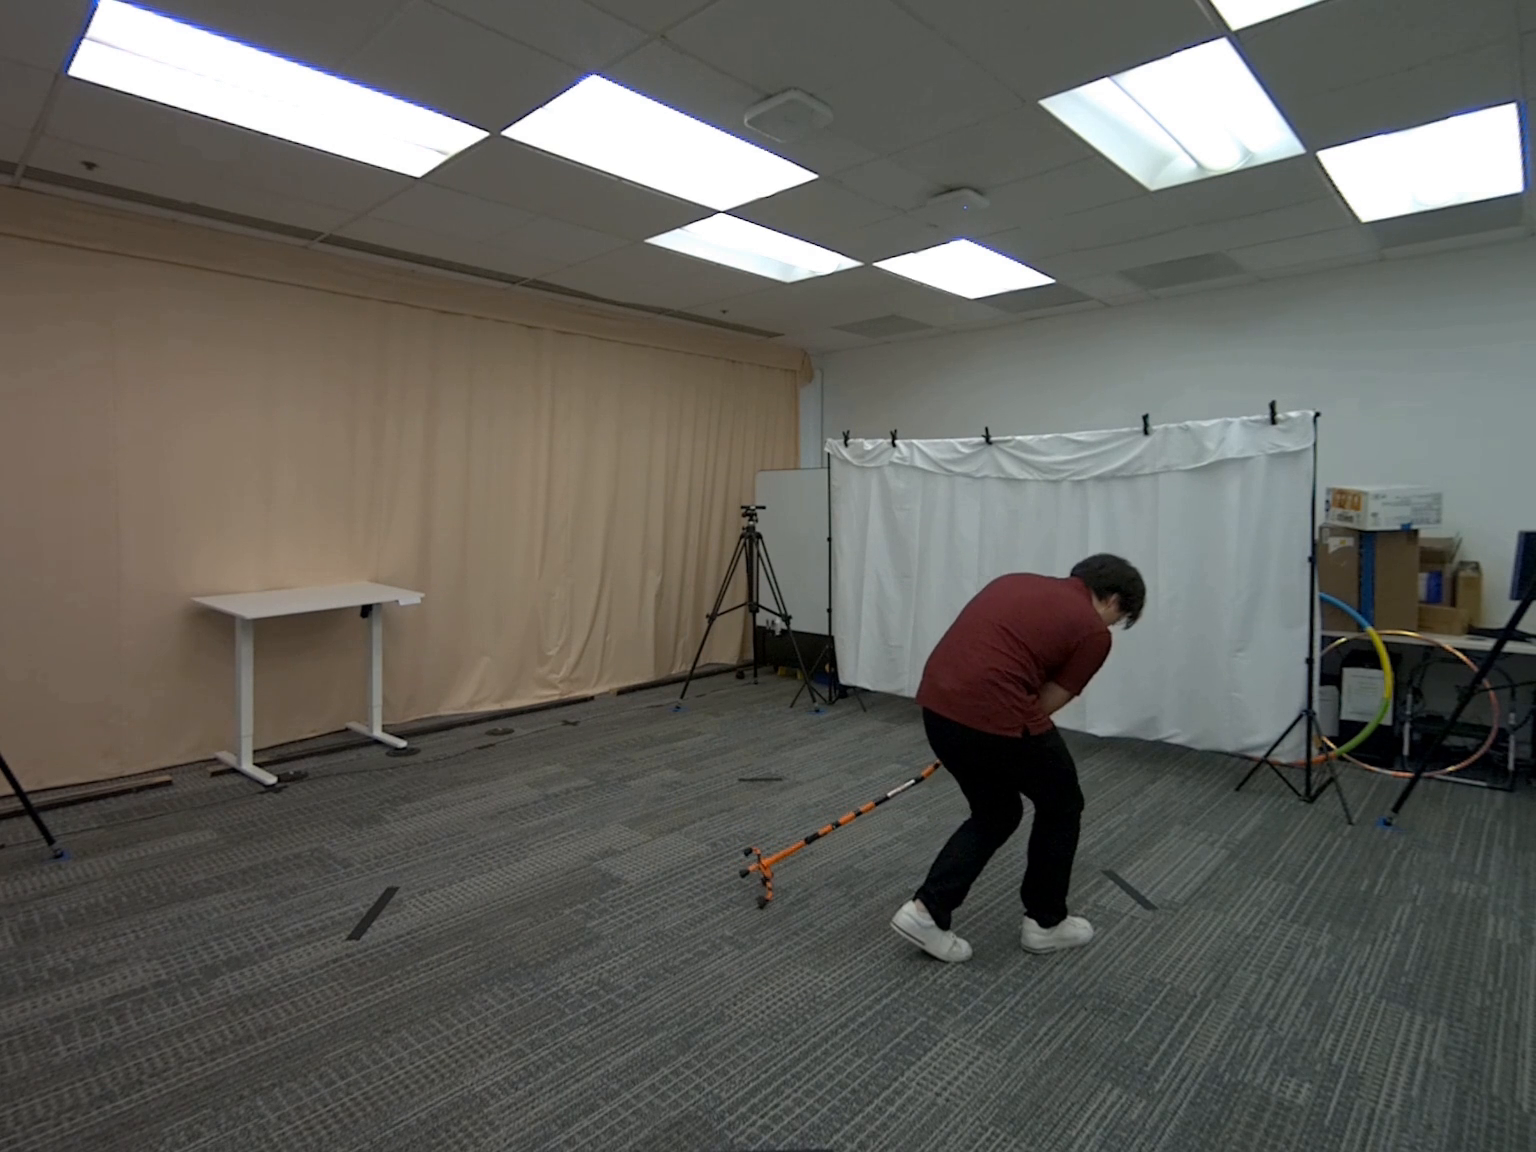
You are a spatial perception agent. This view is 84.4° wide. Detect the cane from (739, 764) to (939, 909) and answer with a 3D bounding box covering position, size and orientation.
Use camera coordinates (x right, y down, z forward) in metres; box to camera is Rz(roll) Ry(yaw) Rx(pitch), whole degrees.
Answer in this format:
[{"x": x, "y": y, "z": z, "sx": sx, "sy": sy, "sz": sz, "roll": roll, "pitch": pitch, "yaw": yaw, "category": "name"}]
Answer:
[{"x": 0.329, "y": 0.838, "z": 2.946, "sx": 0.912, "sy": 0.151, "sz": 0.206, "roll": -32, "pitch": 2, "yaw": 7, "category": "cane"}]
